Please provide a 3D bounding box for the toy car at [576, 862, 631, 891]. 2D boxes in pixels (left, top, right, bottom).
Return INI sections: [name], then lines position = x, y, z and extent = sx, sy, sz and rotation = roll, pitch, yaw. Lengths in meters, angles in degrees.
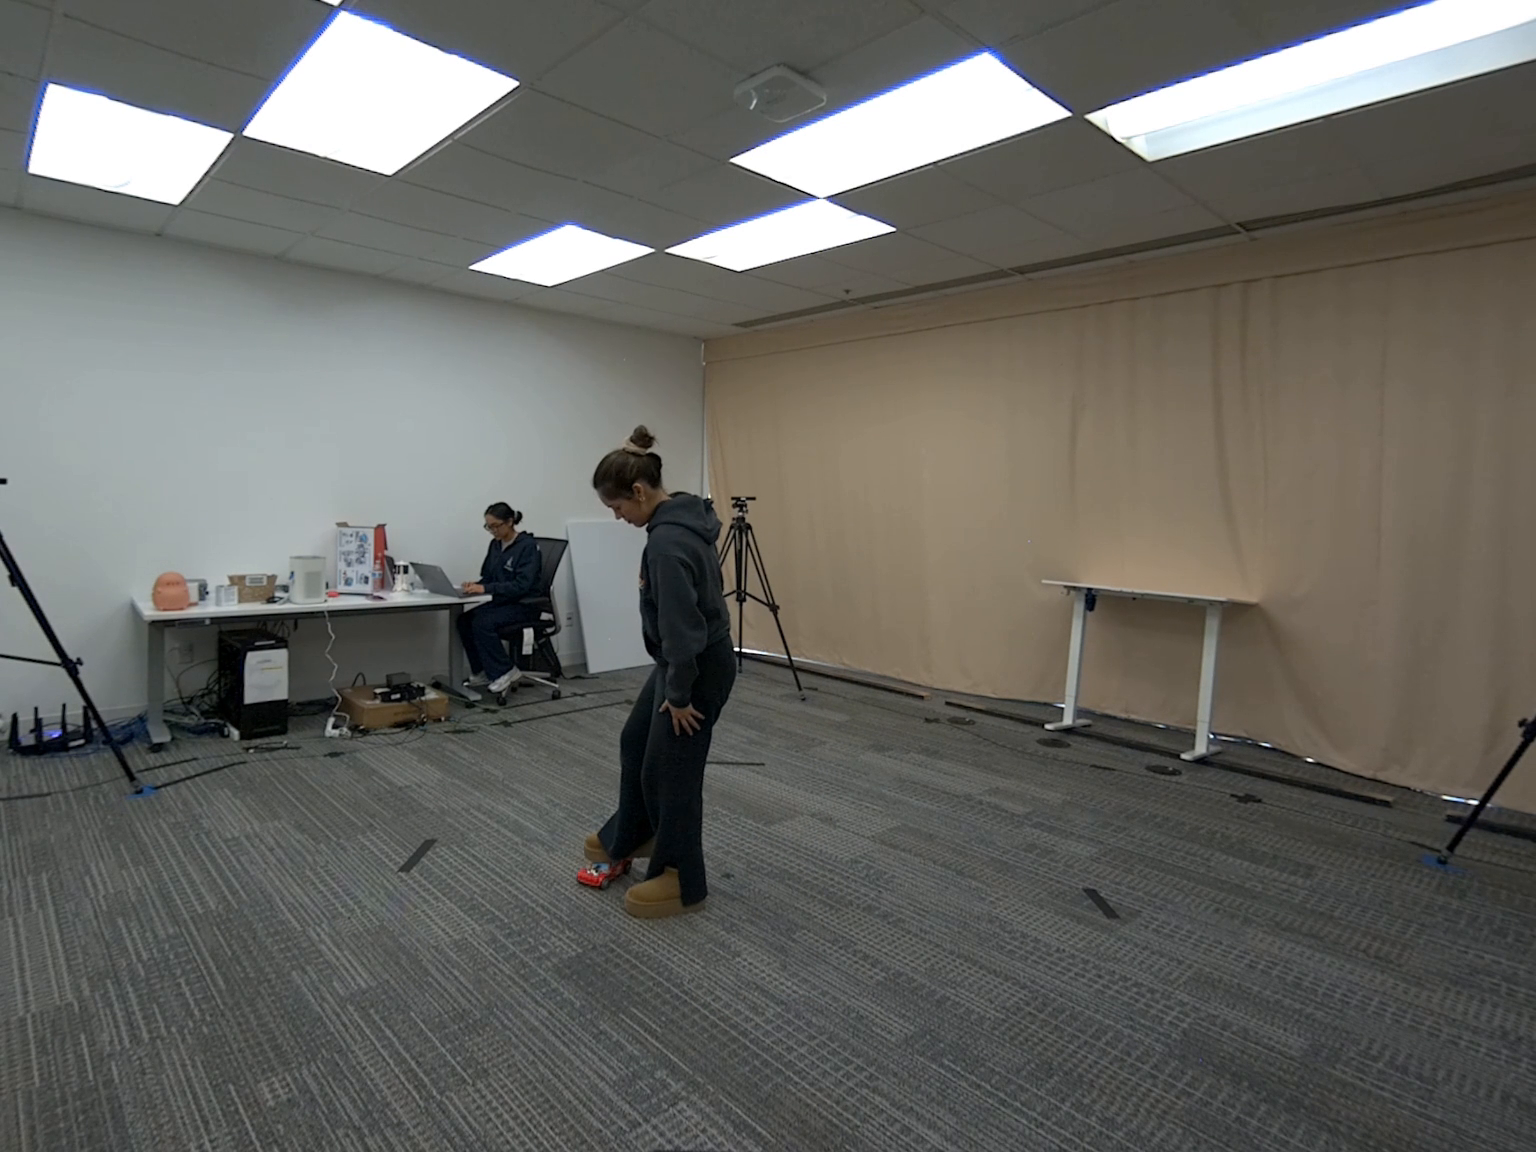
[toy car]
position = -0.593, 1.069, 3.090
extent = 0.133, 0.082, 0.252
rotation = 4, 16, 24
